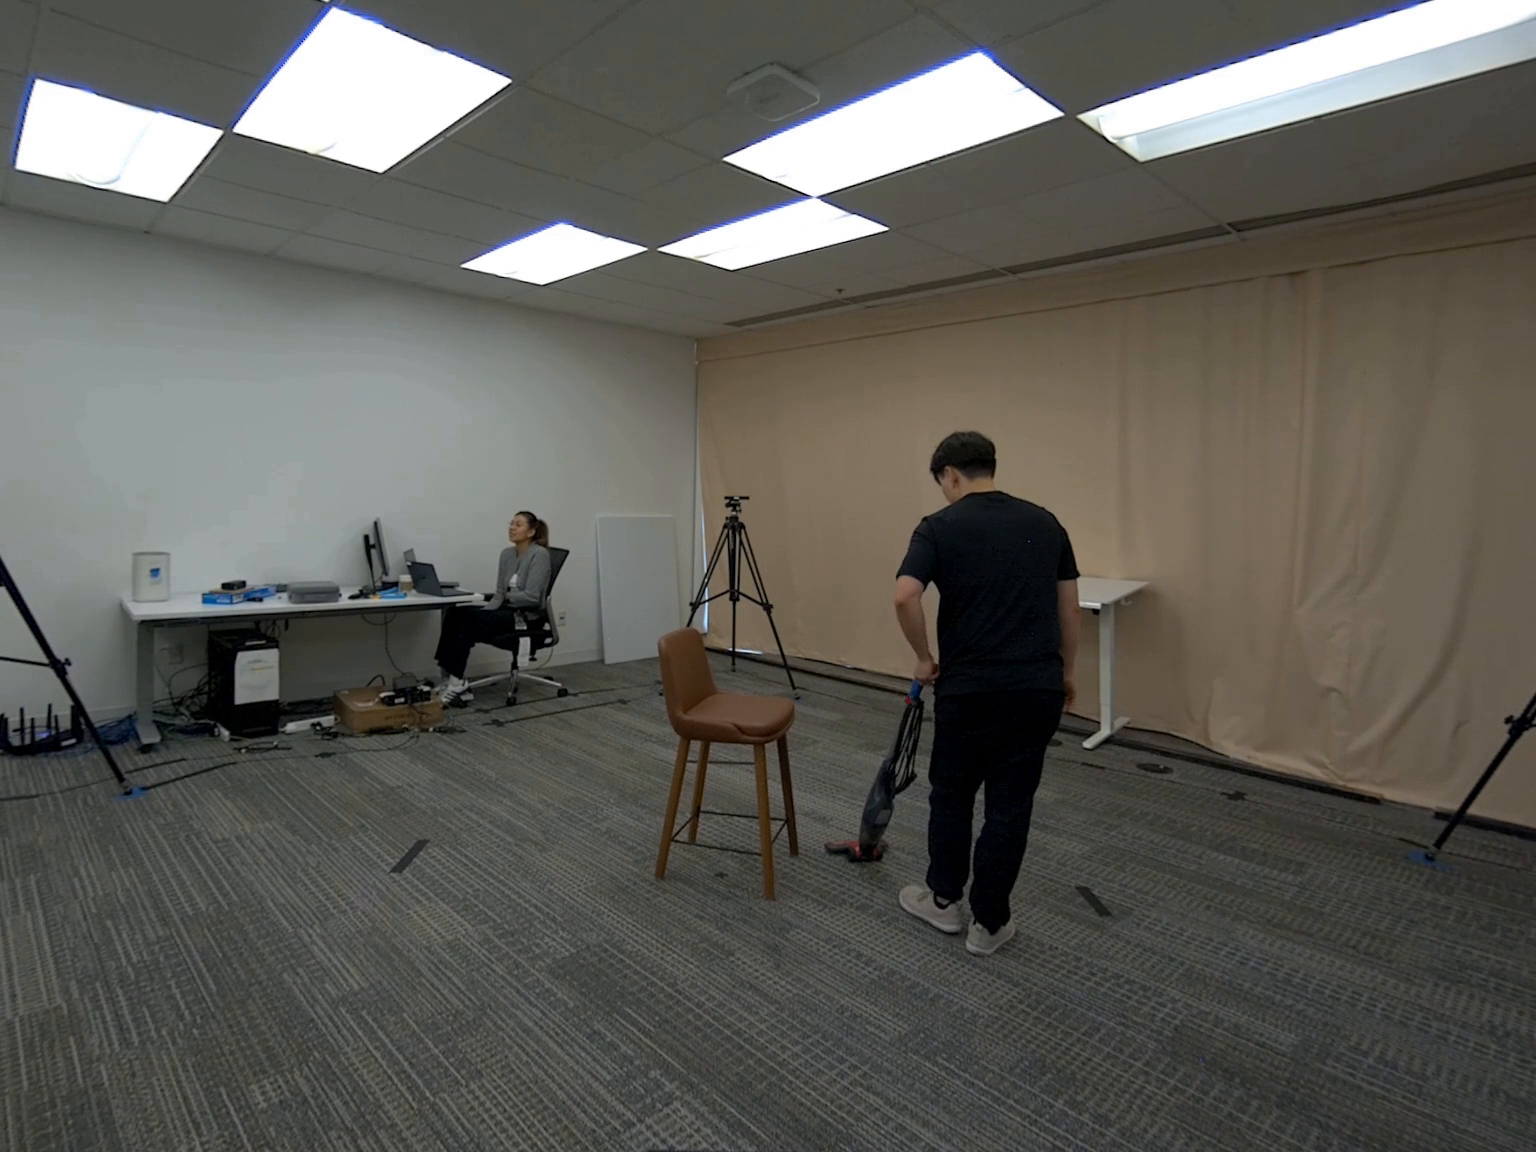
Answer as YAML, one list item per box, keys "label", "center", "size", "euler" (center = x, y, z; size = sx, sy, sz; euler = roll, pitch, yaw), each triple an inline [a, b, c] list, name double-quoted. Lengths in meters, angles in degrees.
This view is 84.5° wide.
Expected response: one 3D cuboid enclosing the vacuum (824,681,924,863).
- label: "vacuum"
  center: [0.439, 0.694, 3.000]
  size: [0.249, 1.031, 0.148]
  euler: [-5, 41, -20]
